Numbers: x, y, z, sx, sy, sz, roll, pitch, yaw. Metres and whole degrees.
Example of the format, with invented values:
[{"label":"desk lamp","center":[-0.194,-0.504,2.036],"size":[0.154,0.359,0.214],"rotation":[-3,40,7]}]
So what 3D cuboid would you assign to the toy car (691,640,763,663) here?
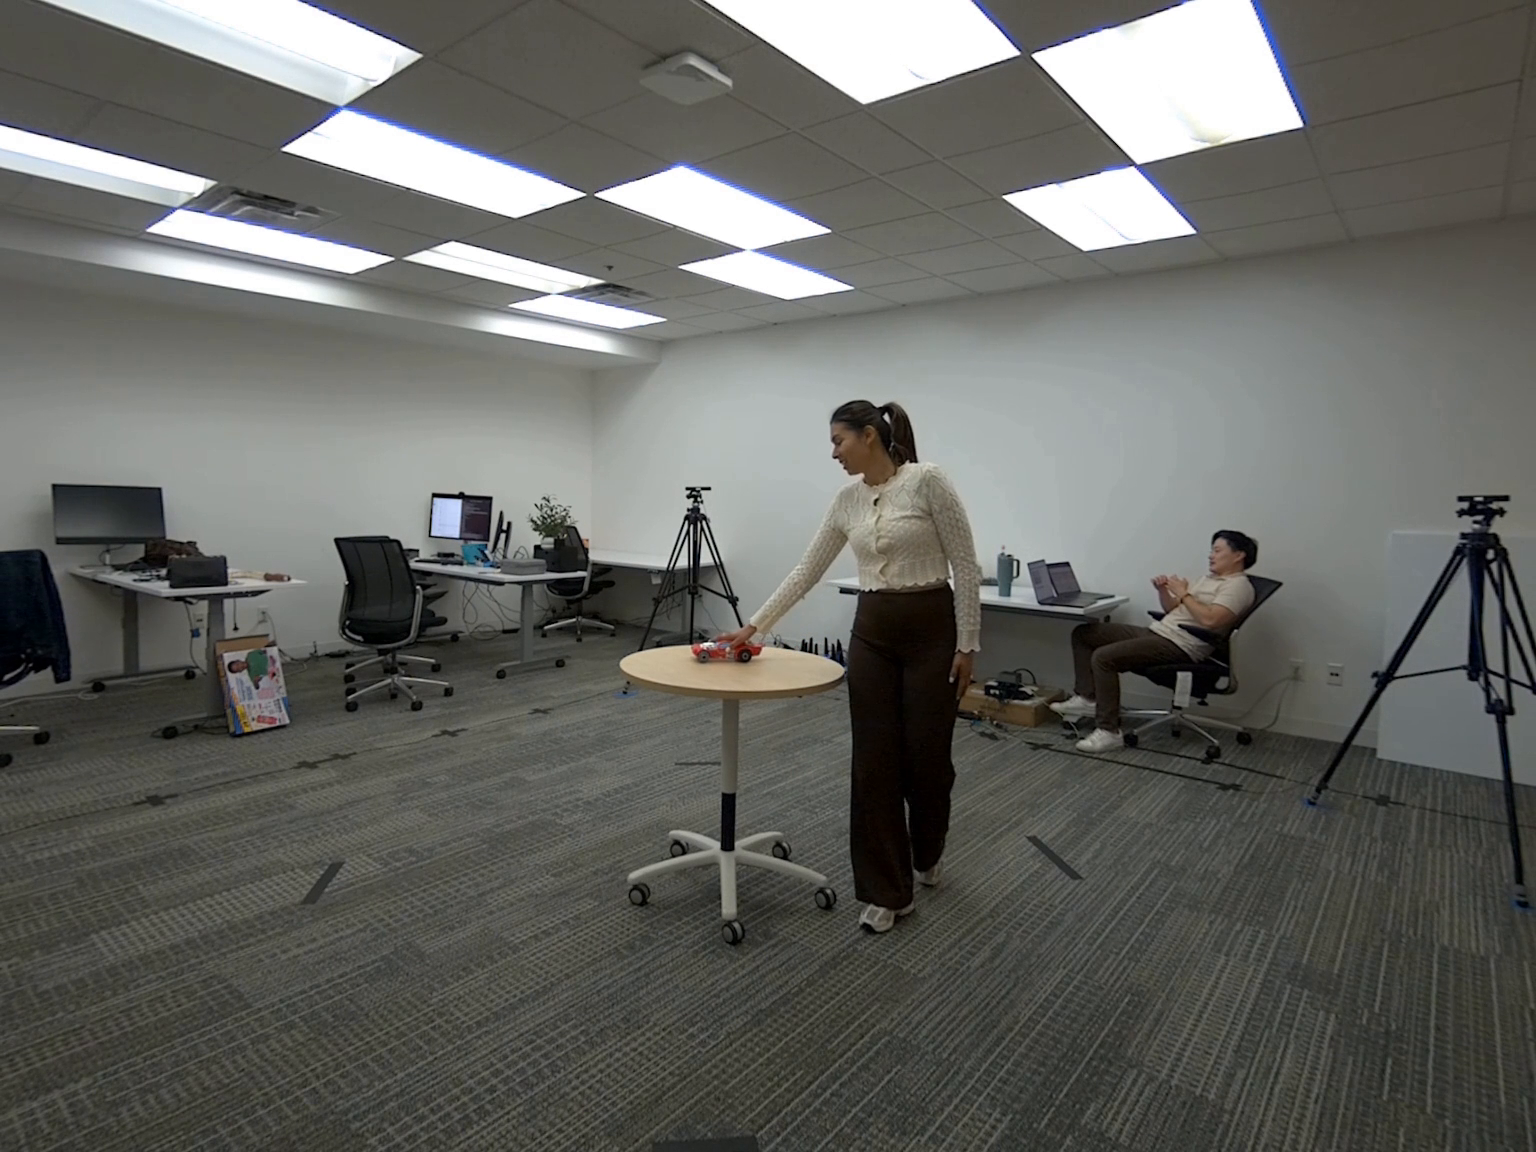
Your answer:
[{"label":"toy car","center":[-0.141,0.259,2.995],"size":[0.253,0.083,0.132],"rotation":[-8,6,-6]}]
